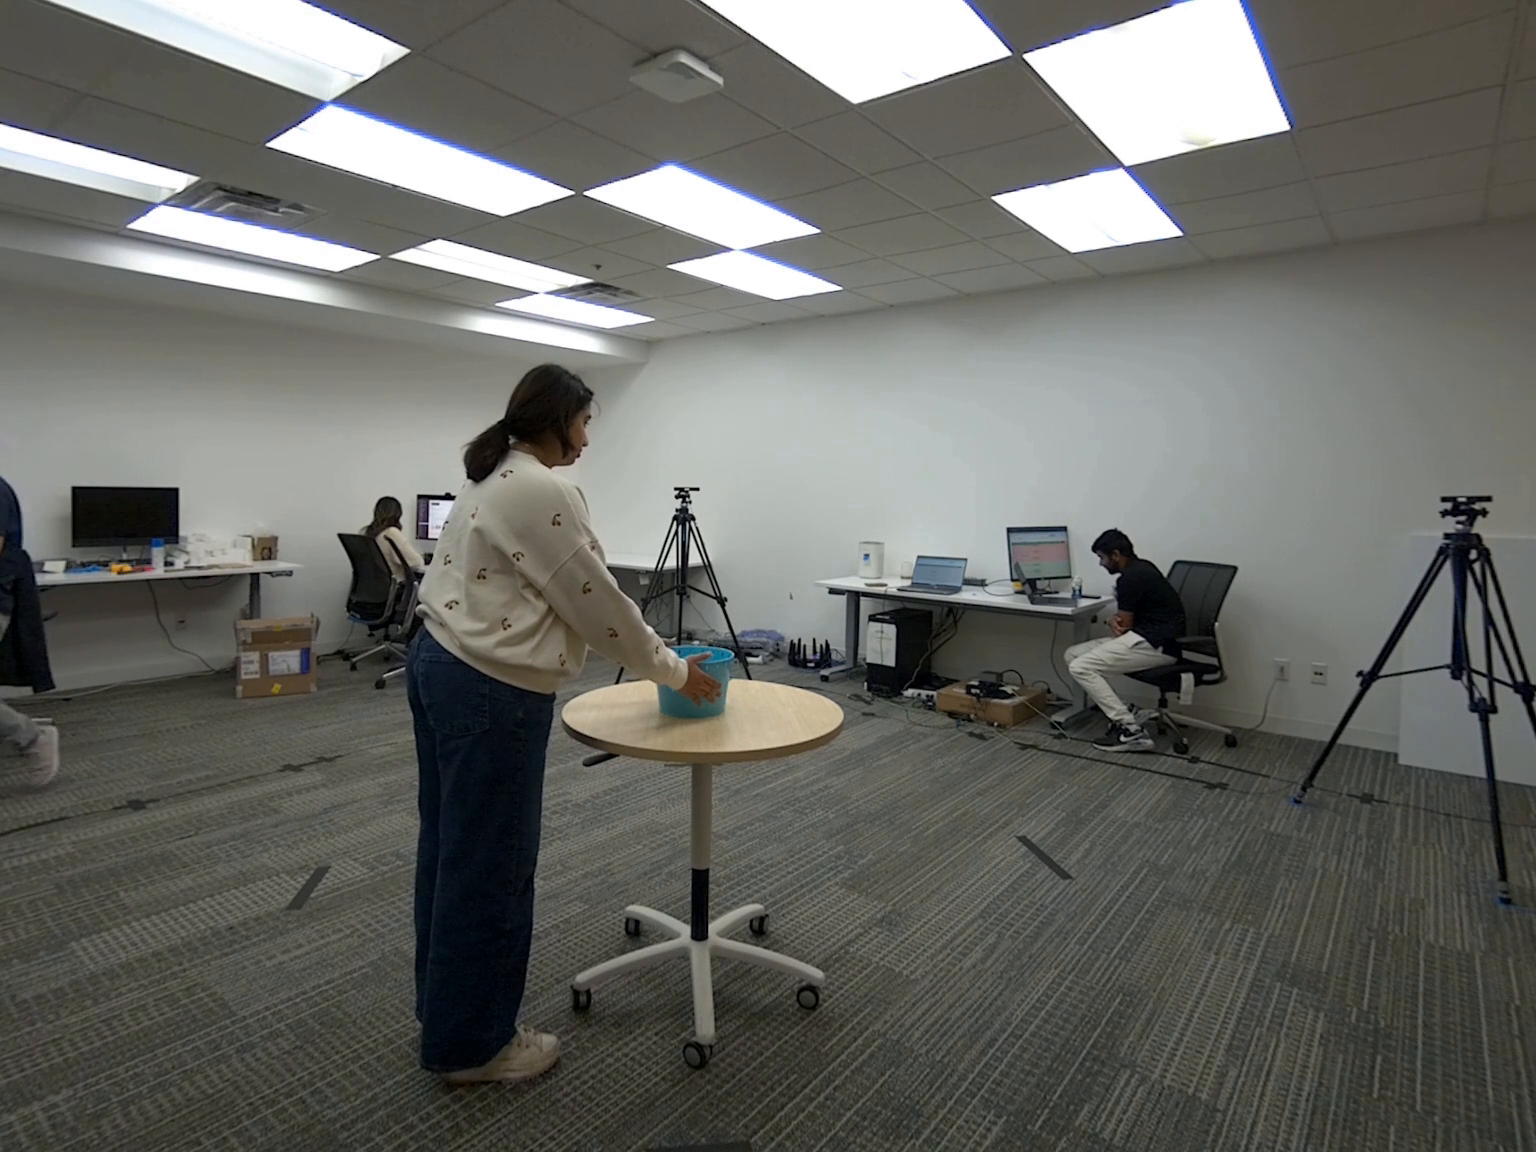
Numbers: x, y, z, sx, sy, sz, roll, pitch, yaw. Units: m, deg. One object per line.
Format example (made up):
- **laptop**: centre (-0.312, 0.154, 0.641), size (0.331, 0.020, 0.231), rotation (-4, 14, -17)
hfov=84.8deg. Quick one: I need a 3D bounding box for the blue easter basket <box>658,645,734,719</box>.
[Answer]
- **blue easter basket**: centre (-0.213, 0.292, 2.319), size (0.243, 0.155, 0.245), rotation (-1, 4, -2)
